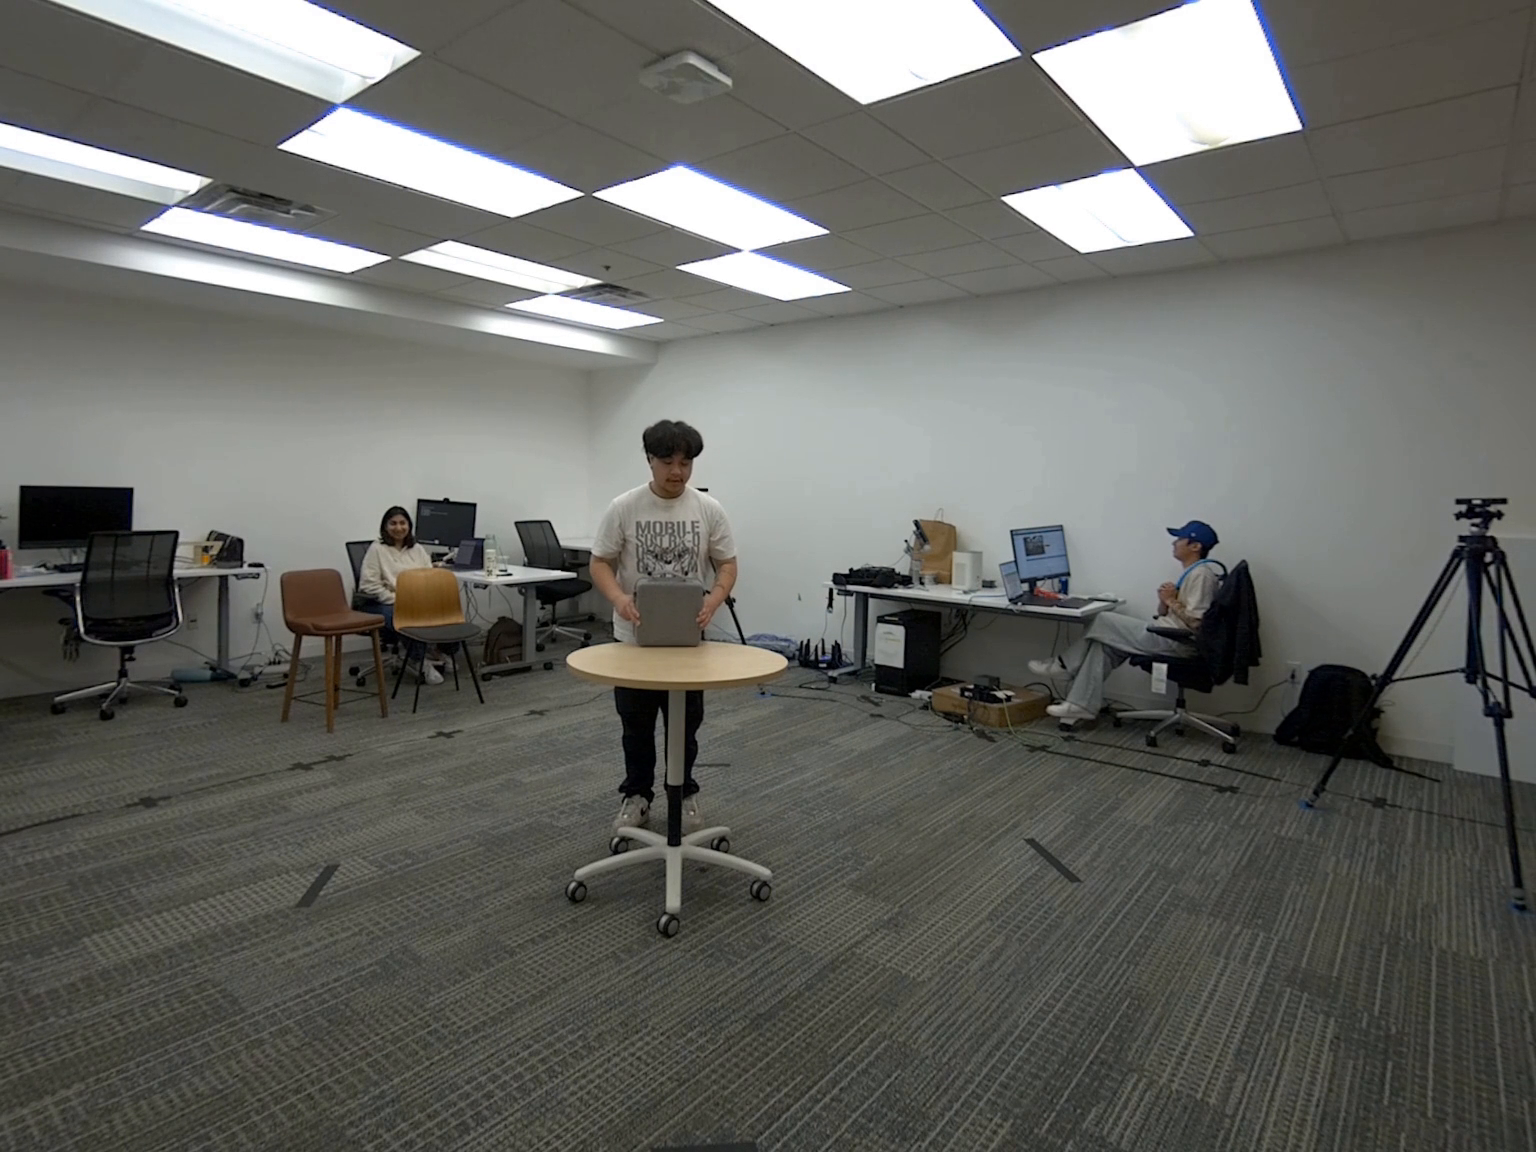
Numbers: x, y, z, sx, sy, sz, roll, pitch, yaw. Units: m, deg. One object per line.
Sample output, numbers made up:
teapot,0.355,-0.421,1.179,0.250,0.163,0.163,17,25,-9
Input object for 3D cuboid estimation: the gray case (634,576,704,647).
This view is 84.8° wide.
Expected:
gray case,-0.384,0.124,3.193,0.255,0.258,0.106,0,10,-7
